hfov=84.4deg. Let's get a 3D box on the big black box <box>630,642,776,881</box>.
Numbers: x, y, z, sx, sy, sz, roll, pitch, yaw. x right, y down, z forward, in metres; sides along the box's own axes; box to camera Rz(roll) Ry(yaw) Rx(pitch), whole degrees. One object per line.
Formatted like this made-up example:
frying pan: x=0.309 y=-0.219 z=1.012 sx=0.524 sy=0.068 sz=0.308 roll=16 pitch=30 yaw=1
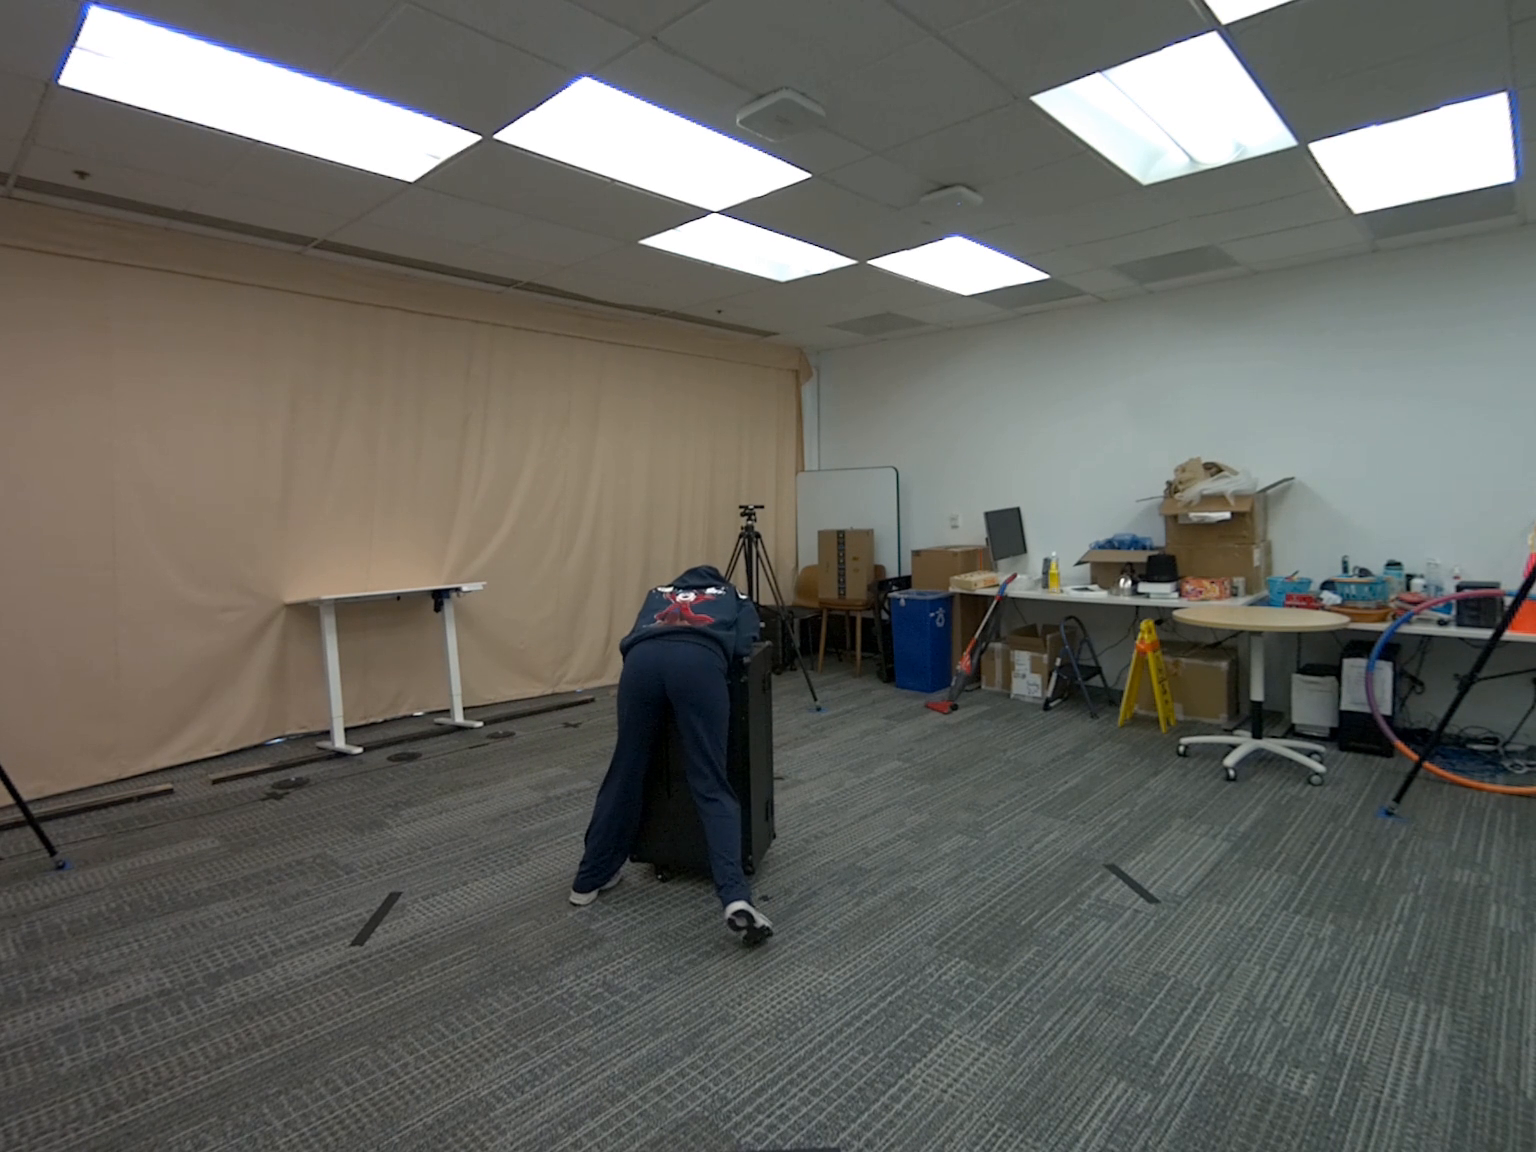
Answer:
big black box: x=-0.239 y=0.703 z=3.216 sx=0.531 sy=0.859 sz=0.390 roll=1 pitch=4 yaw=16
